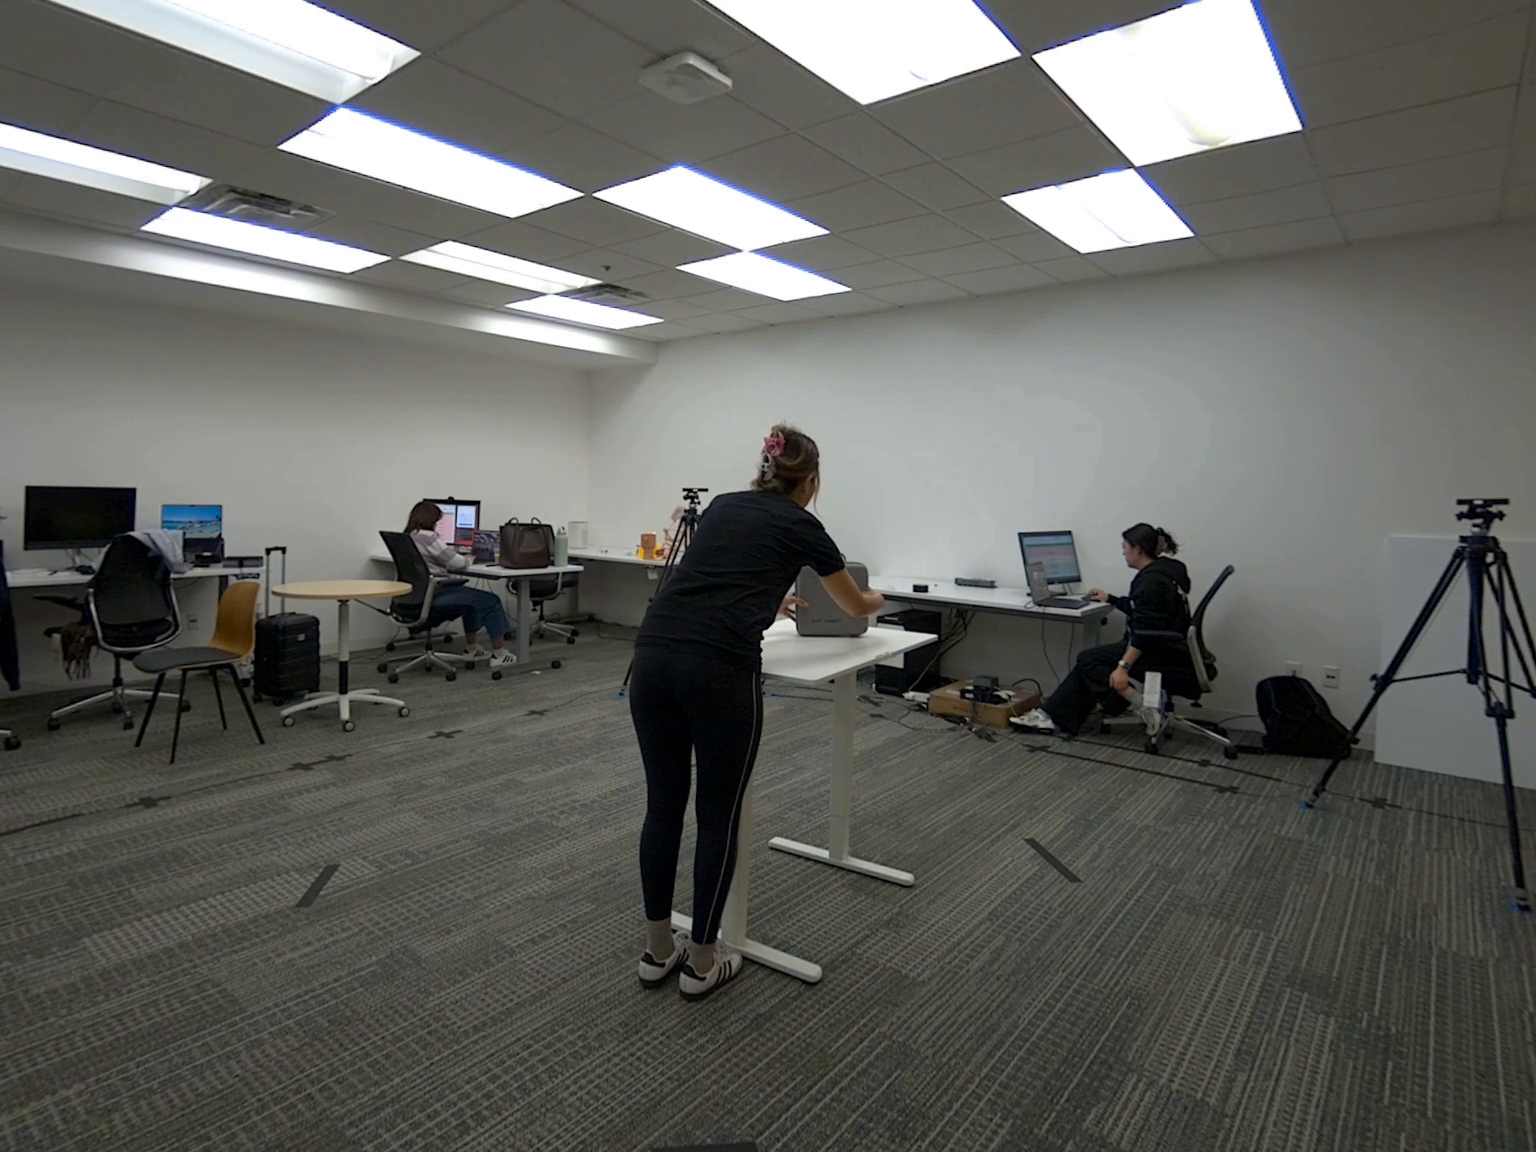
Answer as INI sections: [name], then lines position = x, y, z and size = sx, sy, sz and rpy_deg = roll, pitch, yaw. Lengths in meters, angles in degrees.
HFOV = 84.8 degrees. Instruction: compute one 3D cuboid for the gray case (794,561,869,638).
[gray case]
position = 0.211, 0.076, 3.016
size = 0.255, 0.260, 0.105
rpy_deg = 1, 3, -6
